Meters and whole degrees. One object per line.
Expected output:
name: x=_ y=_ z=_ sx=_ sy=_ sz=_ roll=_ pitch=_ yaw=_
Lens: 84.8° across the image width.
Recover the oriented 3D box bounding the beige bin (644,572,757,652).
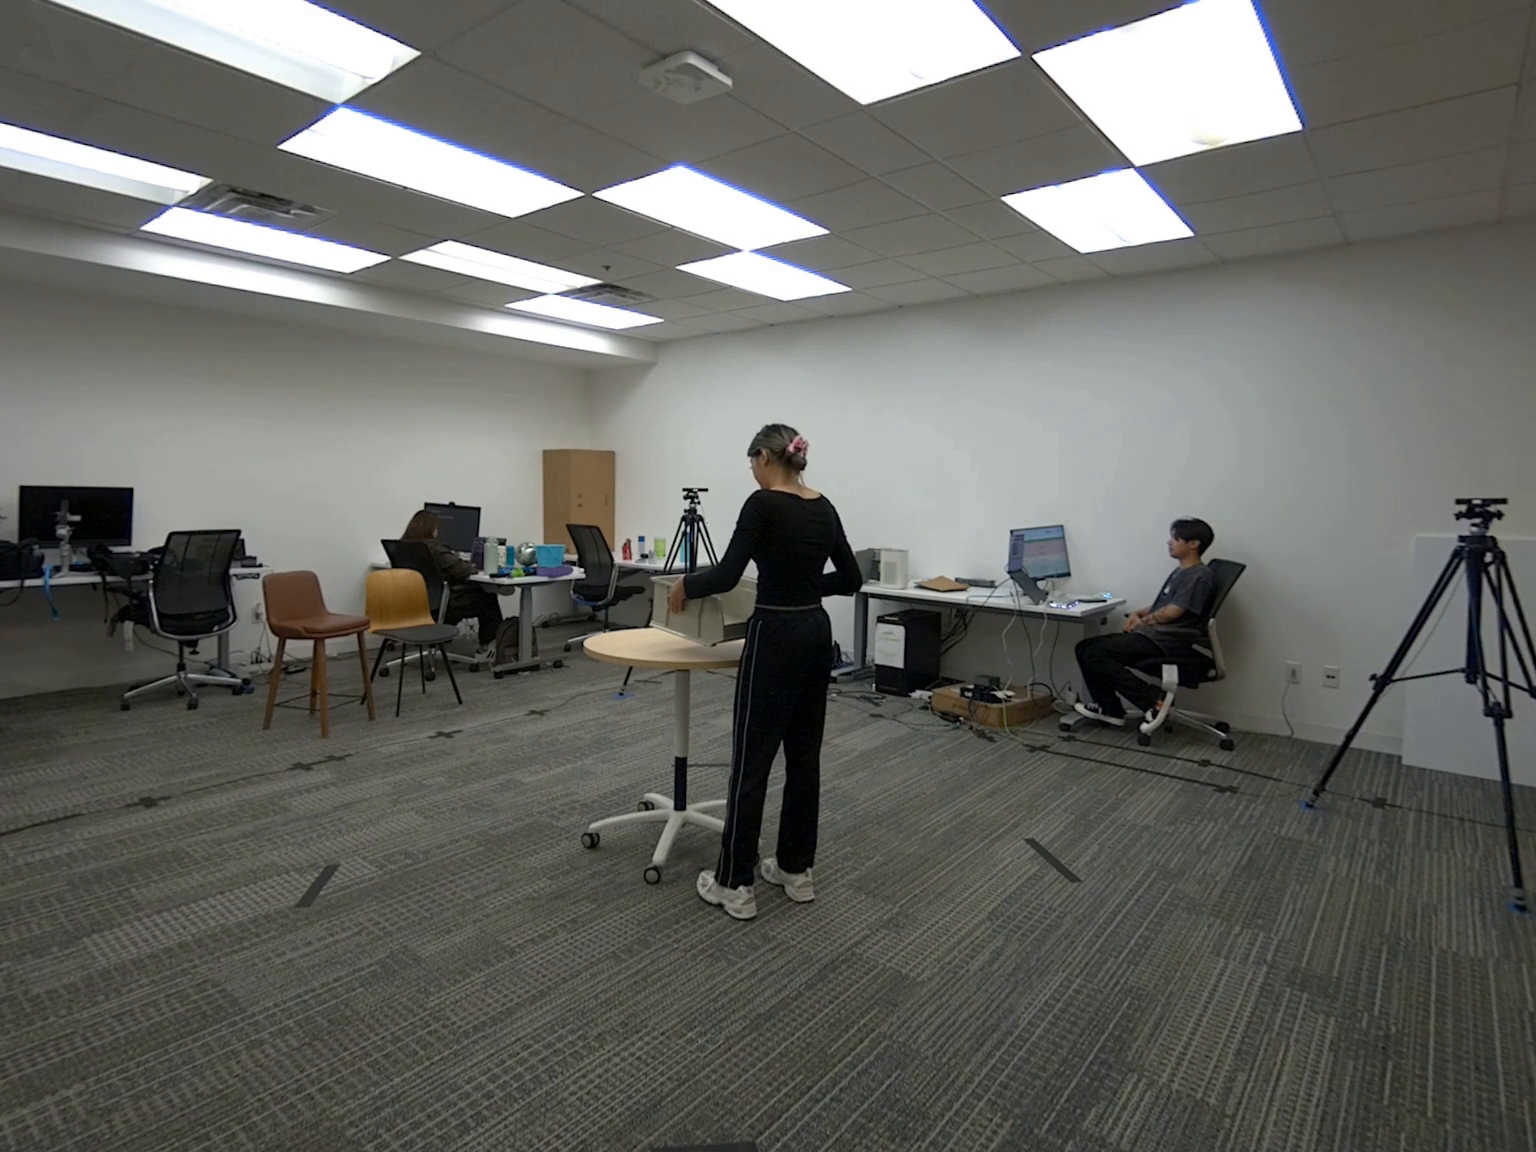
beige bin: x=-0.172 y=0.115 z=3.136 sx=0.391 sy=0.188 sz=0.410 roll=11 pitch=12 yaw=41
